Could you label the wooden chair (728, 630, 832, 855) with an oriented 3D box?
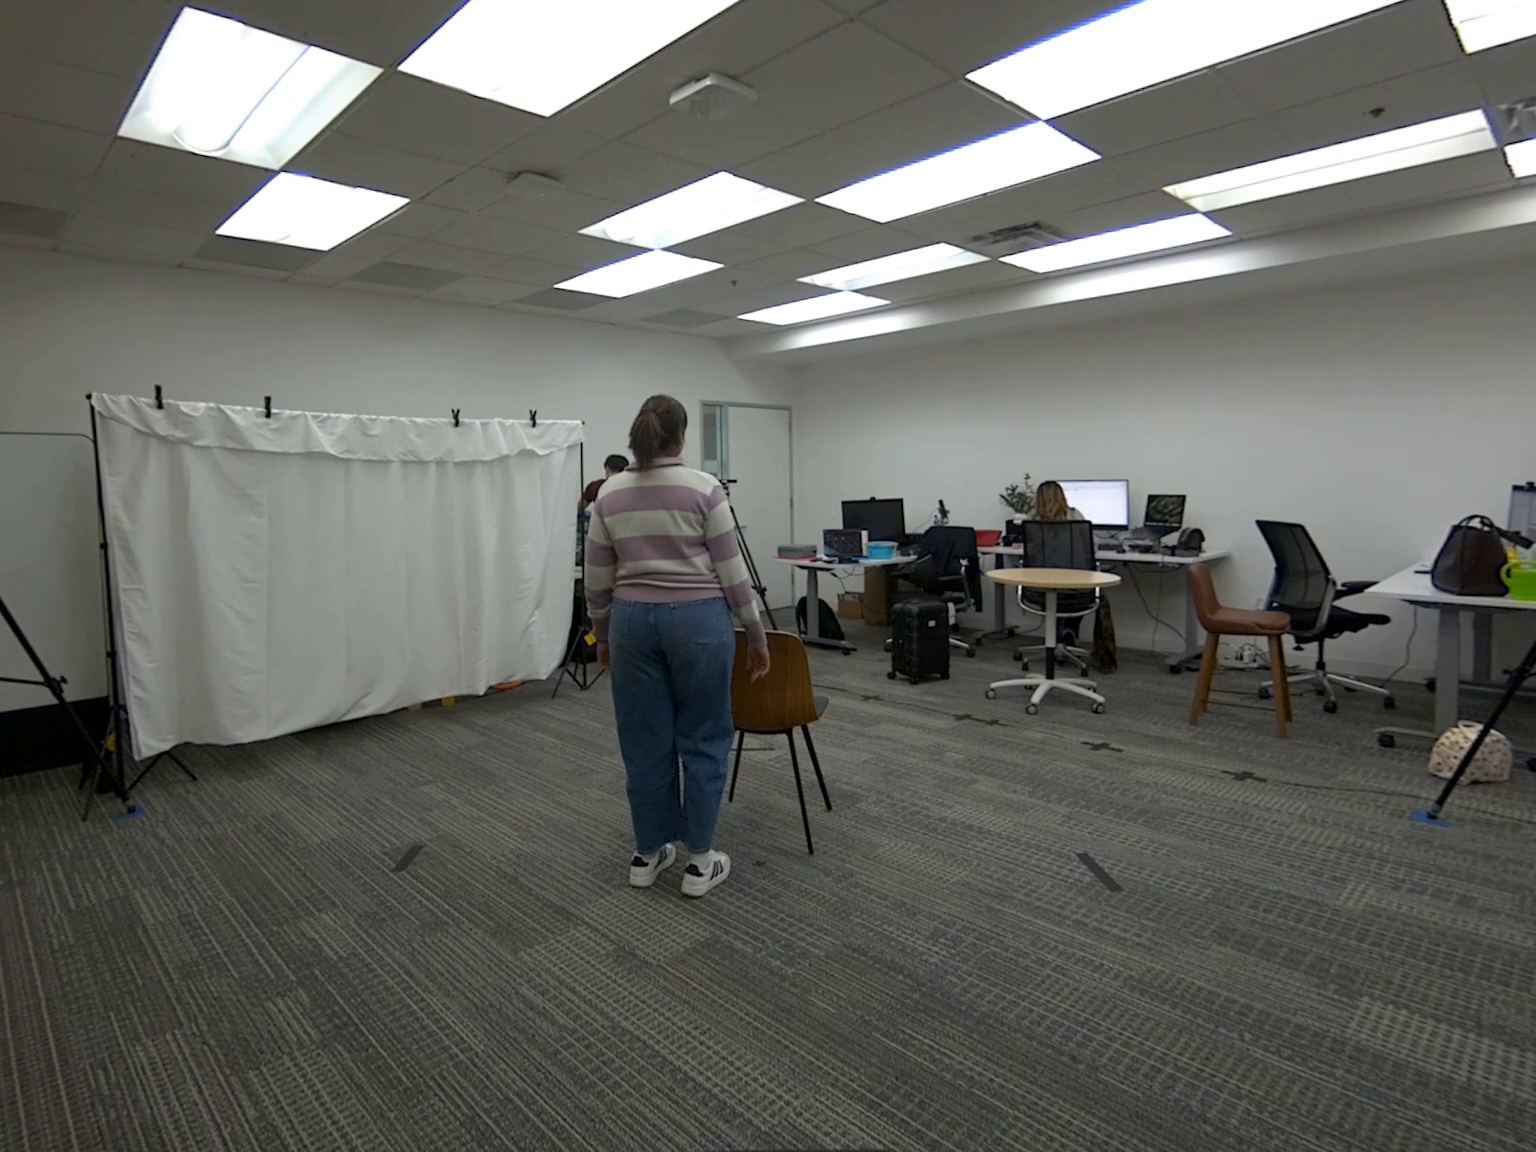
[{"bbox_3d":[-0.002,0.584,3.430,0.485,0.871,0.519,0,8,15],"label":"wooden chair"}]
